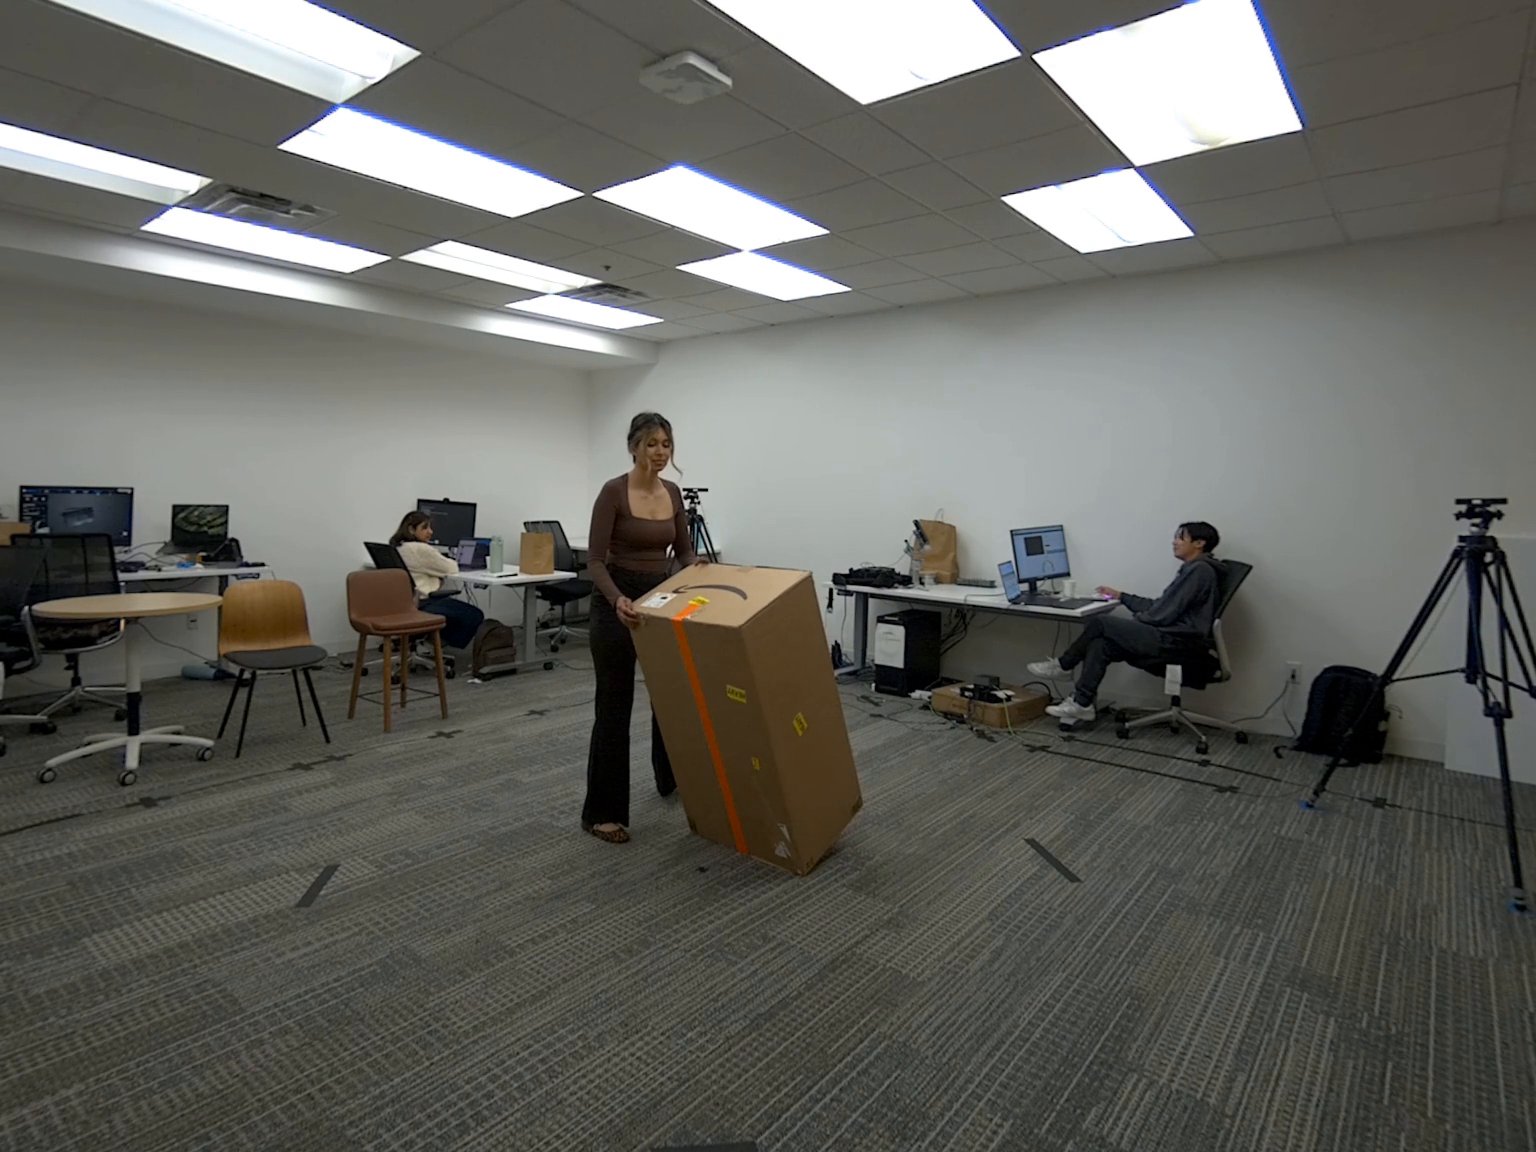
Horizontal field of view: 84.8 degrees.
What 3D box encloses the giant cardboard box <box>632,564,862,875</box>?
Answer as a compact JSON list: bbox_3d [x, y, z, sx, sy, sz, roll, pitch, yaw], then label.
[{"bbox_3d":[-0.090,0.510,3.229,0.604,1.004,0.442,5,27,42],"label":"giant cardboard box"}]
